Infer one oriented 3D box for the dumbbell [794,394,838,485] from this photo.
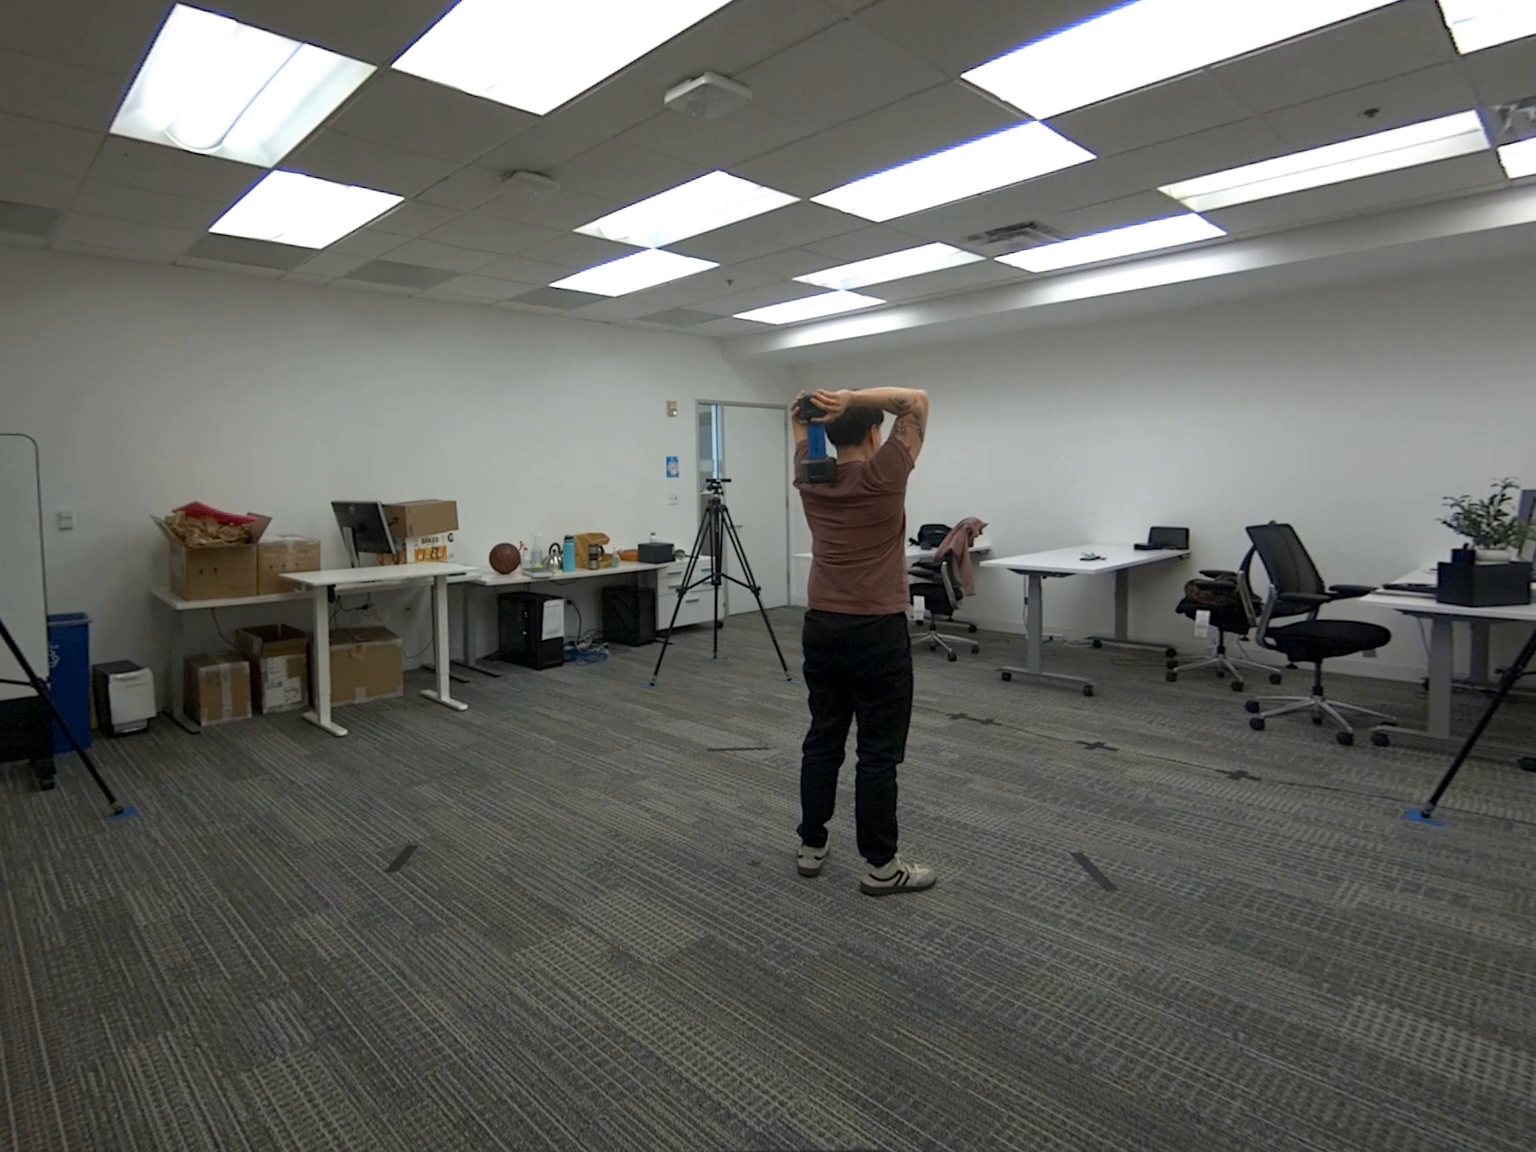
[{"bbox_3d":[0.168,-0.458,2.837,0.112,0.291,0.120,5,11,41],"label":"dumbbell"}]
